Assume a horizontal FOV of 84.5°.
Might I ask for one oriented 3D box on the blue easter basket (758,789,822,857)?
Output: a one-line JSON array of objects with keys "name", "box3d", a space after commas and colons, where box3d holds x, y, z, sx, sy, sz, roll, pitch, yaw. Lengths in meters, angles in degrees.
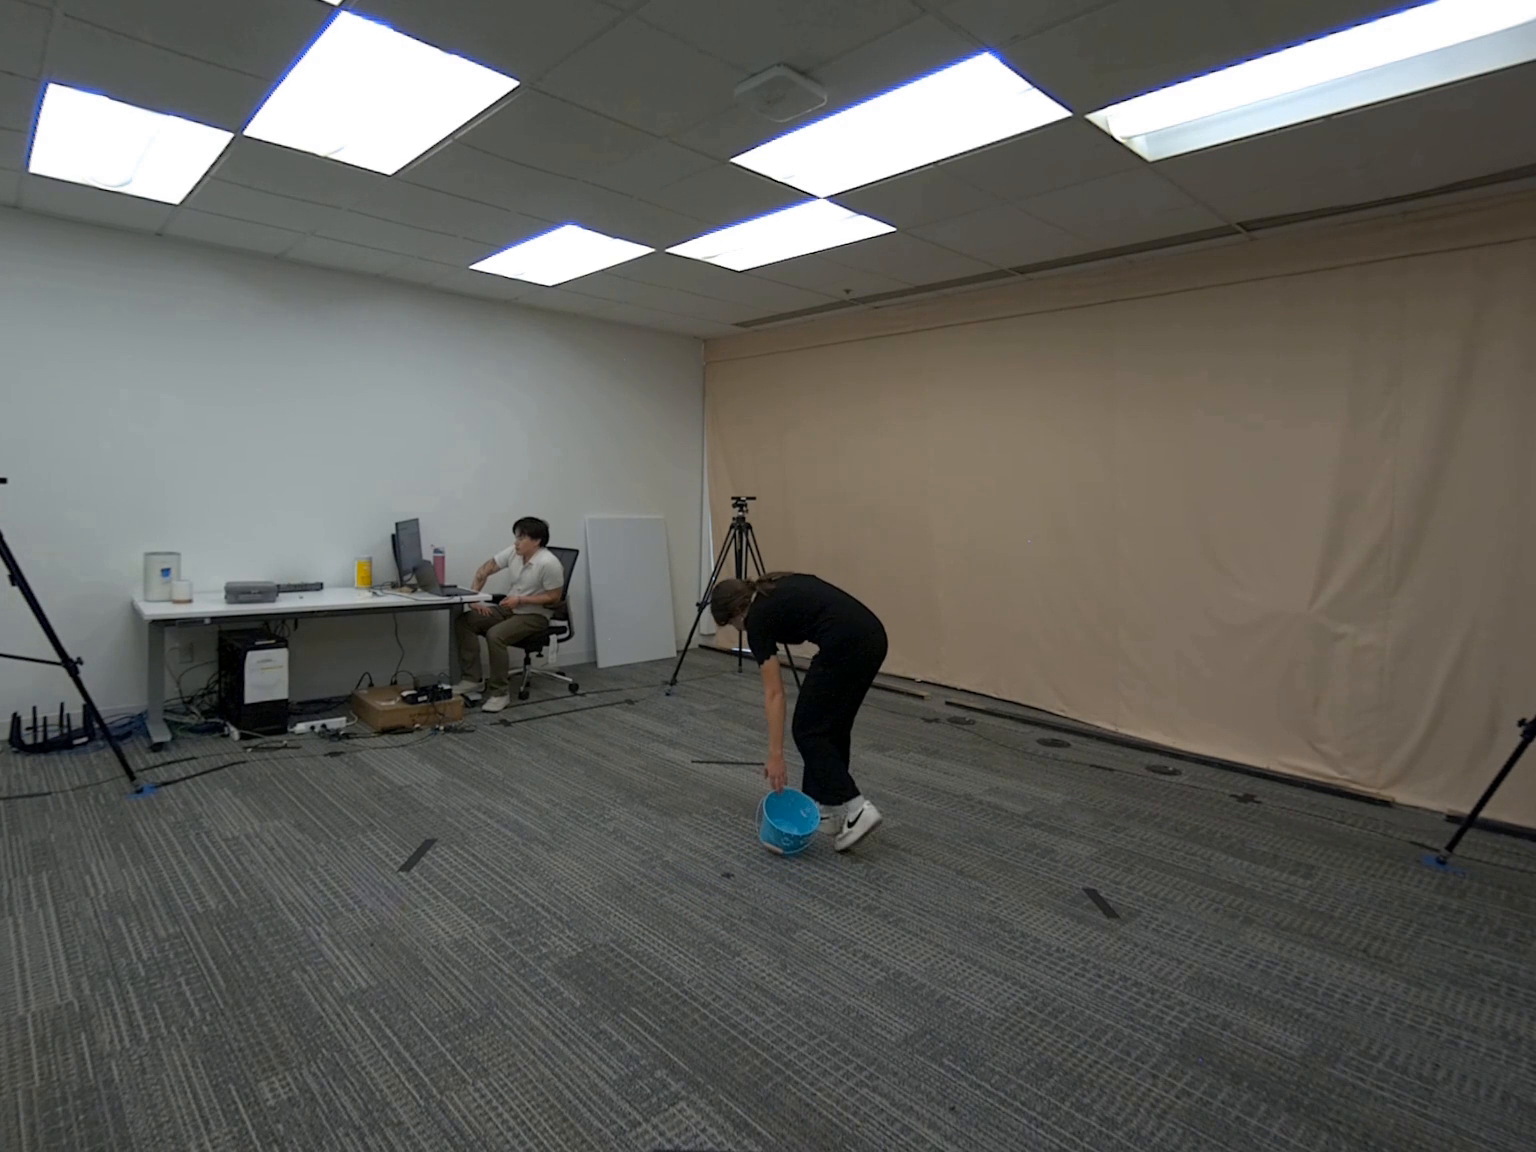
[{"name": "blue easter basket", "box3d": [0.060, 0.986, 3.318, 0.242, 0.154, 0.248, 12, 26, -7]}]
